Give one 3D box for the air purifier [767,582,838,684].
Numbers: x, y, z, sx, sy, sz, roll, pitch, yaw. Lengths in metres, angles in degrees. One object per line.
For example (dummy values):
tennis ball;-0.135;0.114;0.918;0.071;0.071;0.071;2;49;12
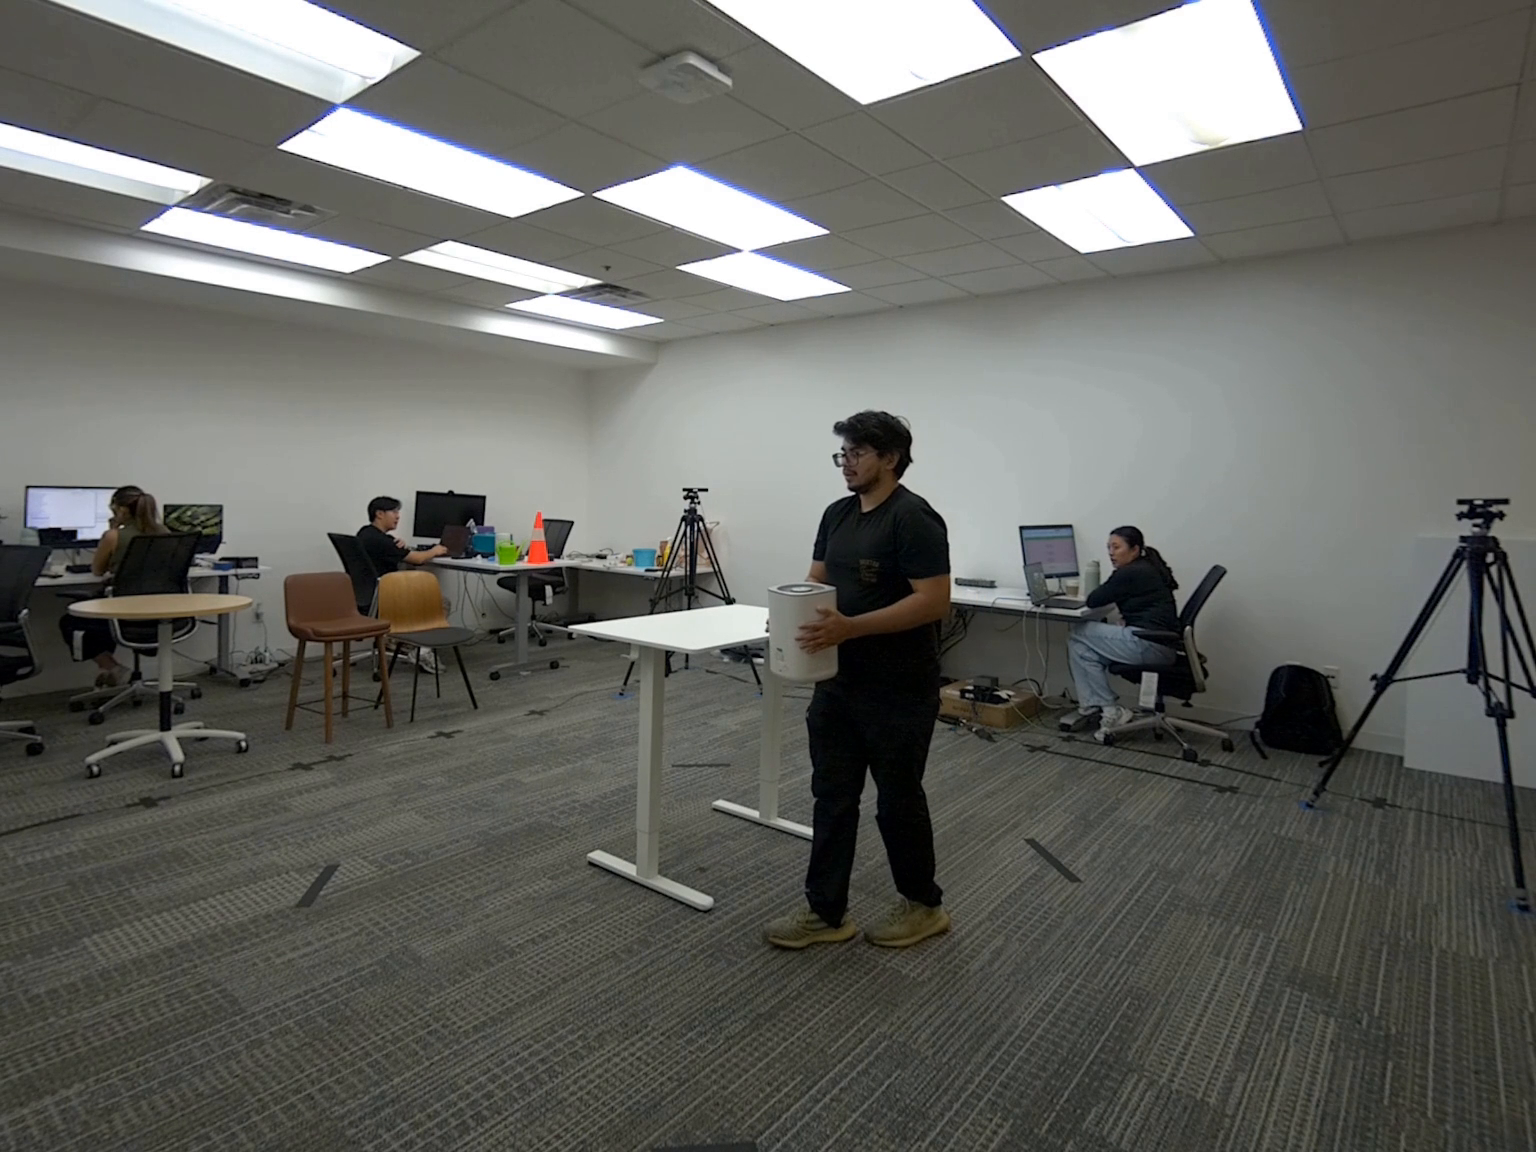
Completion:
air purifier;0.097;0.162;2.485;0.167;0.263;0.177;-7;10;-34
